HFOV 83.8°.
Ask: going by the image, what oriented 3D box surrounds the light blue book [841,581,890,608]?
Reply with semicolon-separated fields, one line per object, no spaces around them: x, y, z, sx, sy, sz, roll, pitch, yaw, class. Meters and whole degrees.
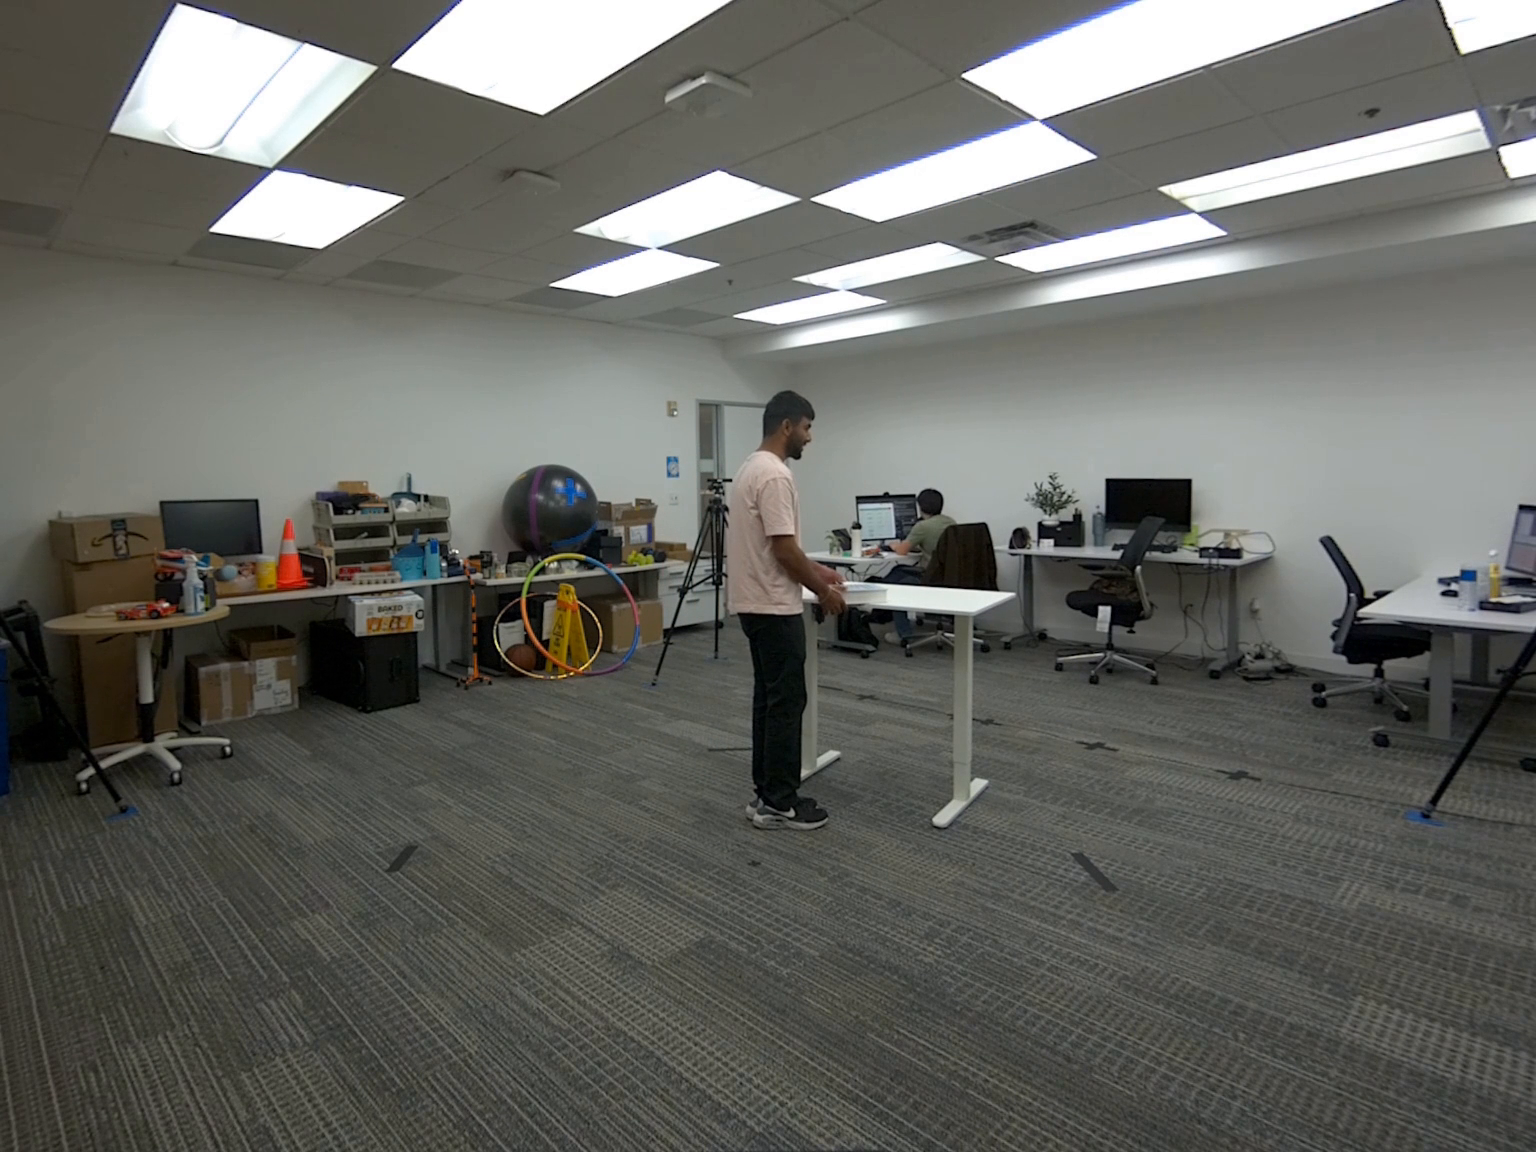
0.363;0.078;3.570;0.260;0.059;0.192;-2;6;-3;light blue book
